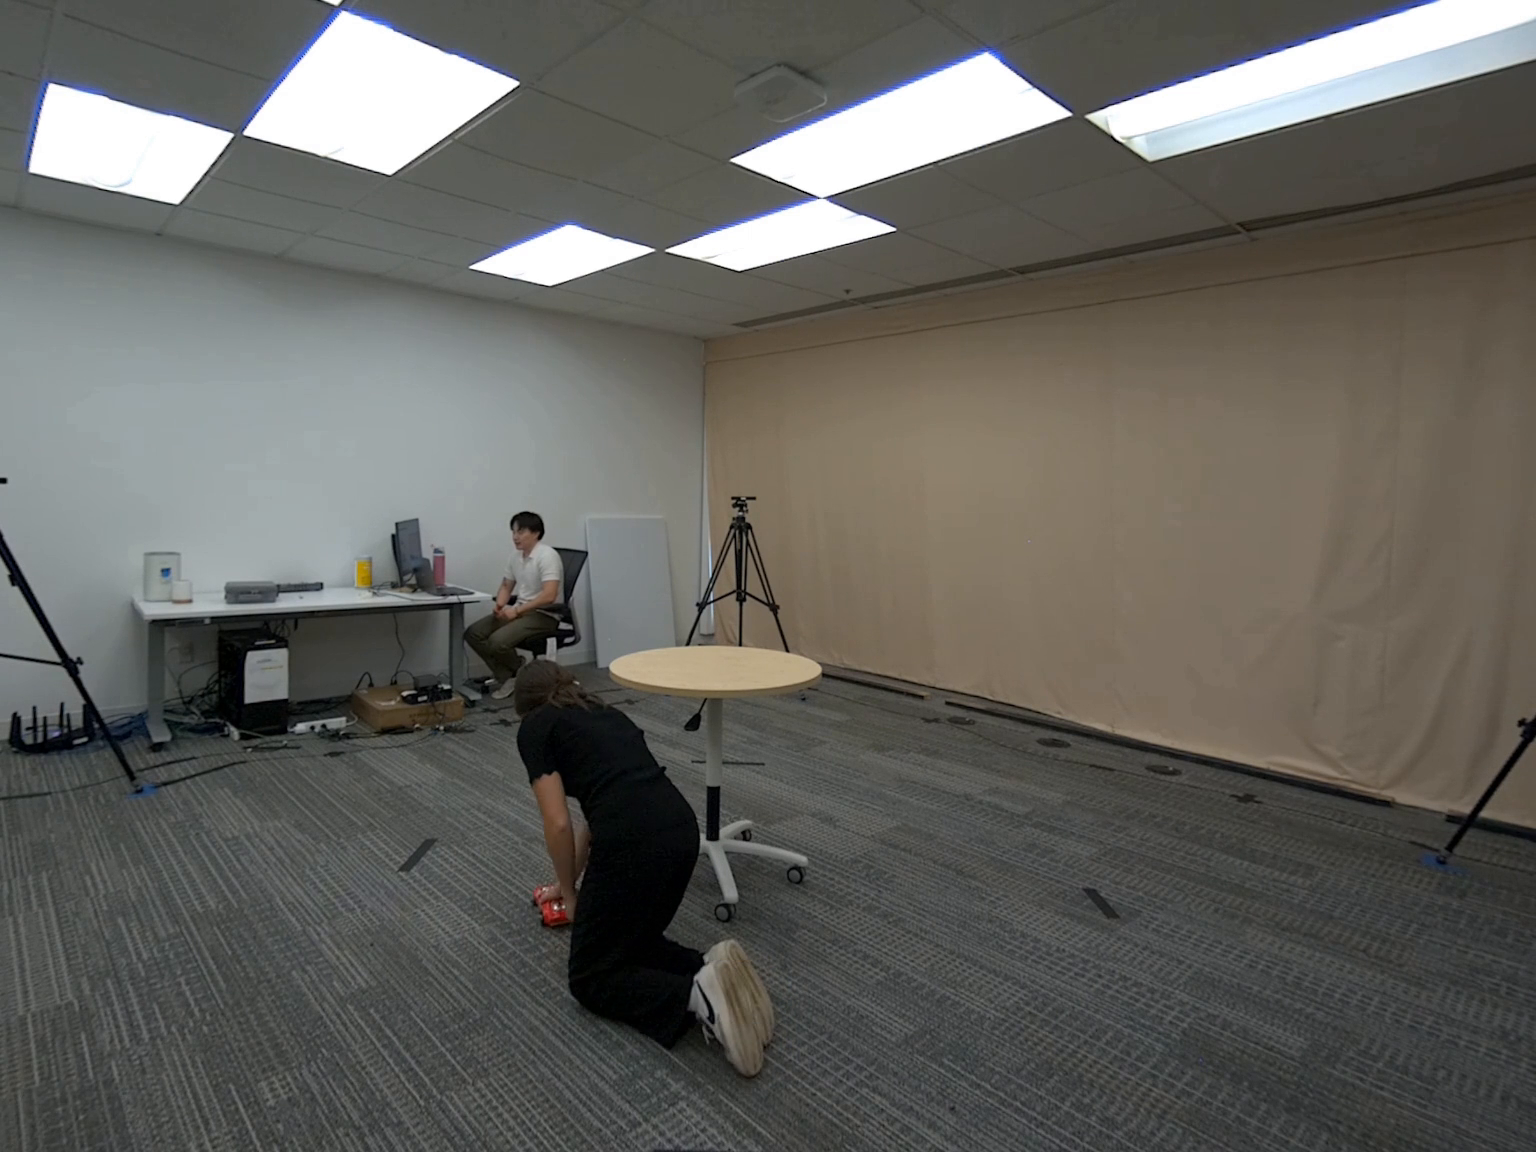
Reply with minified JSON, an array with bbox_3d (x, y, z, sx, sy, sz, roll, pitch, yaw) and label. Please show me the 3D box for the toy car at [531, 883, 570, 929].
[{"bbox_3d":[-0.711,1.096,2.772,0.128,0.083,0.258,-2,-4,-25],"label":"toy car"}]
